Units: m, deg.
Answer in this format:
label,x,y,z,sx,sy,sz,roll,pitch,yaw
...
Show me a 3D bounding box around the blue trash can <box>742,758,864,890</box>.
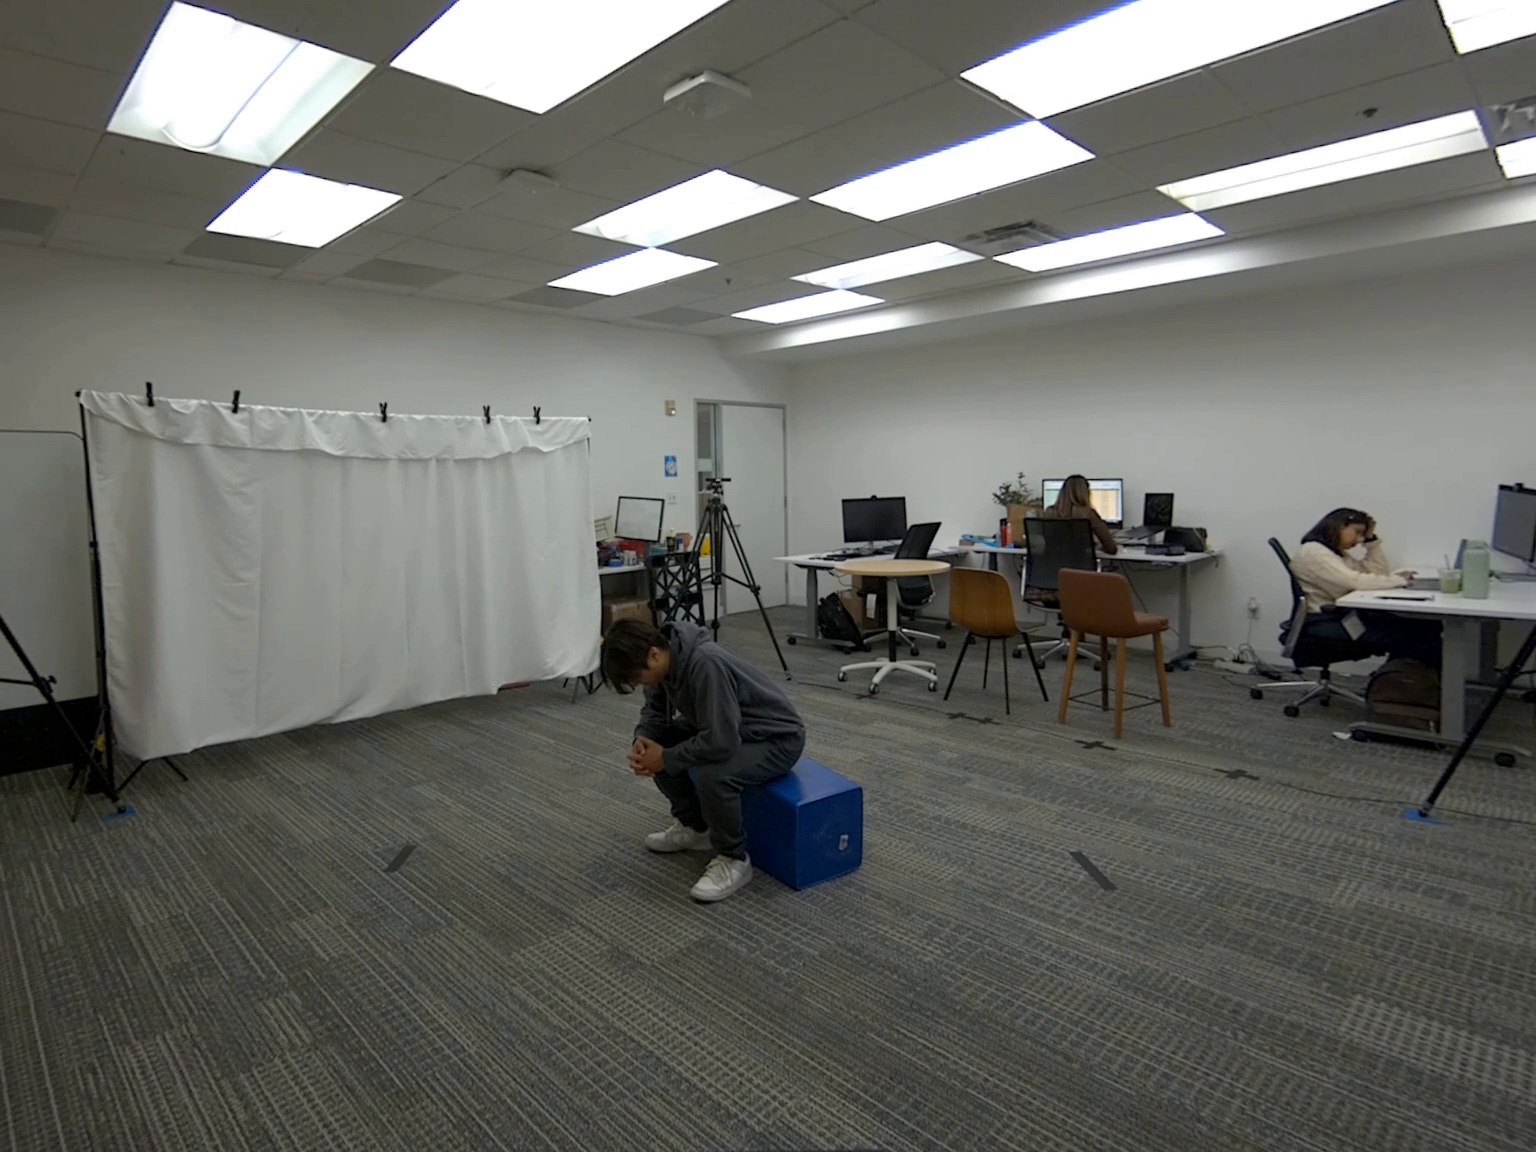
label,x,y,z,sx,sy,sz,roll,pitch,yaw
blue trash can,0.014,0.856,3.249,0.365,0.375,0.737,-4,10,-35
